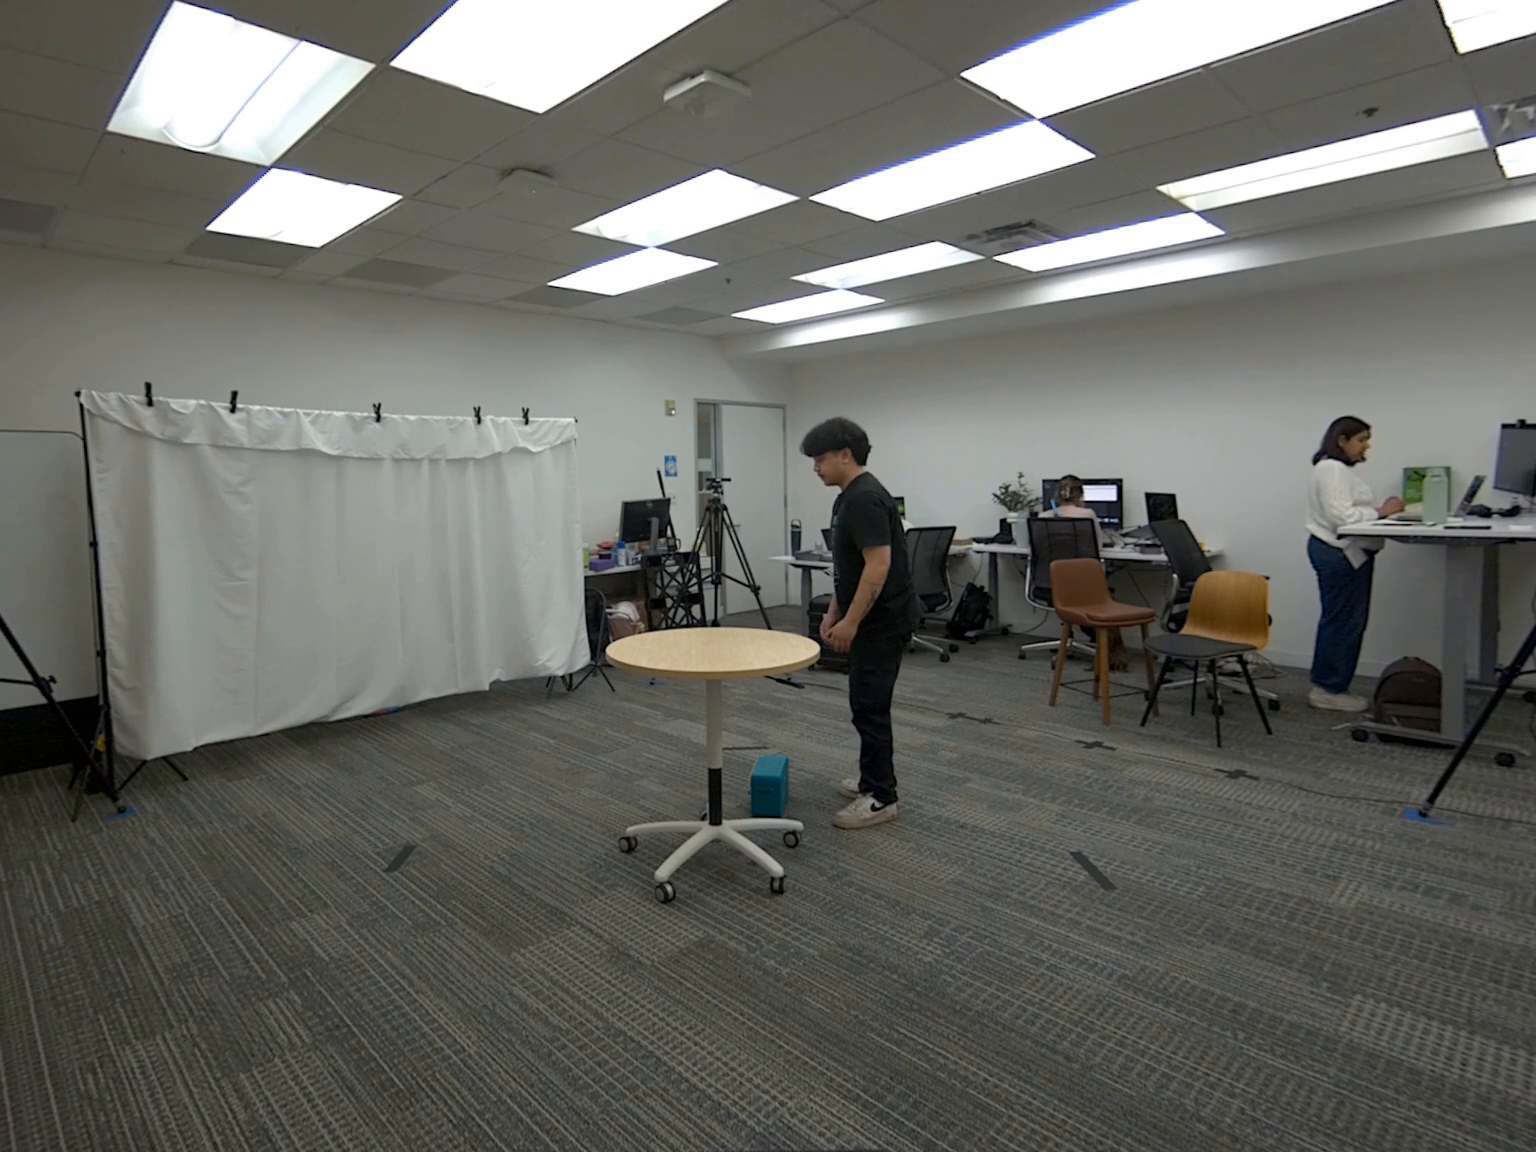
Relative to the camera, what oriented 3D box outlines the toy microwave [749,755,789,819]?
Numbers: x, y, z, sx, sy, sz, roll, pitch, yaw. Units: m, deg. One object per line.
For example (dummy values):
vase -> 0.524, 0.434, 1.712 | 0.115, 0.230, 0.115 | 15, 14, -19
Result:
toy microwave -> -0.004, 0.887, 3.621 | 0.154, 0.183, 0.284 | -1, 5, 9
